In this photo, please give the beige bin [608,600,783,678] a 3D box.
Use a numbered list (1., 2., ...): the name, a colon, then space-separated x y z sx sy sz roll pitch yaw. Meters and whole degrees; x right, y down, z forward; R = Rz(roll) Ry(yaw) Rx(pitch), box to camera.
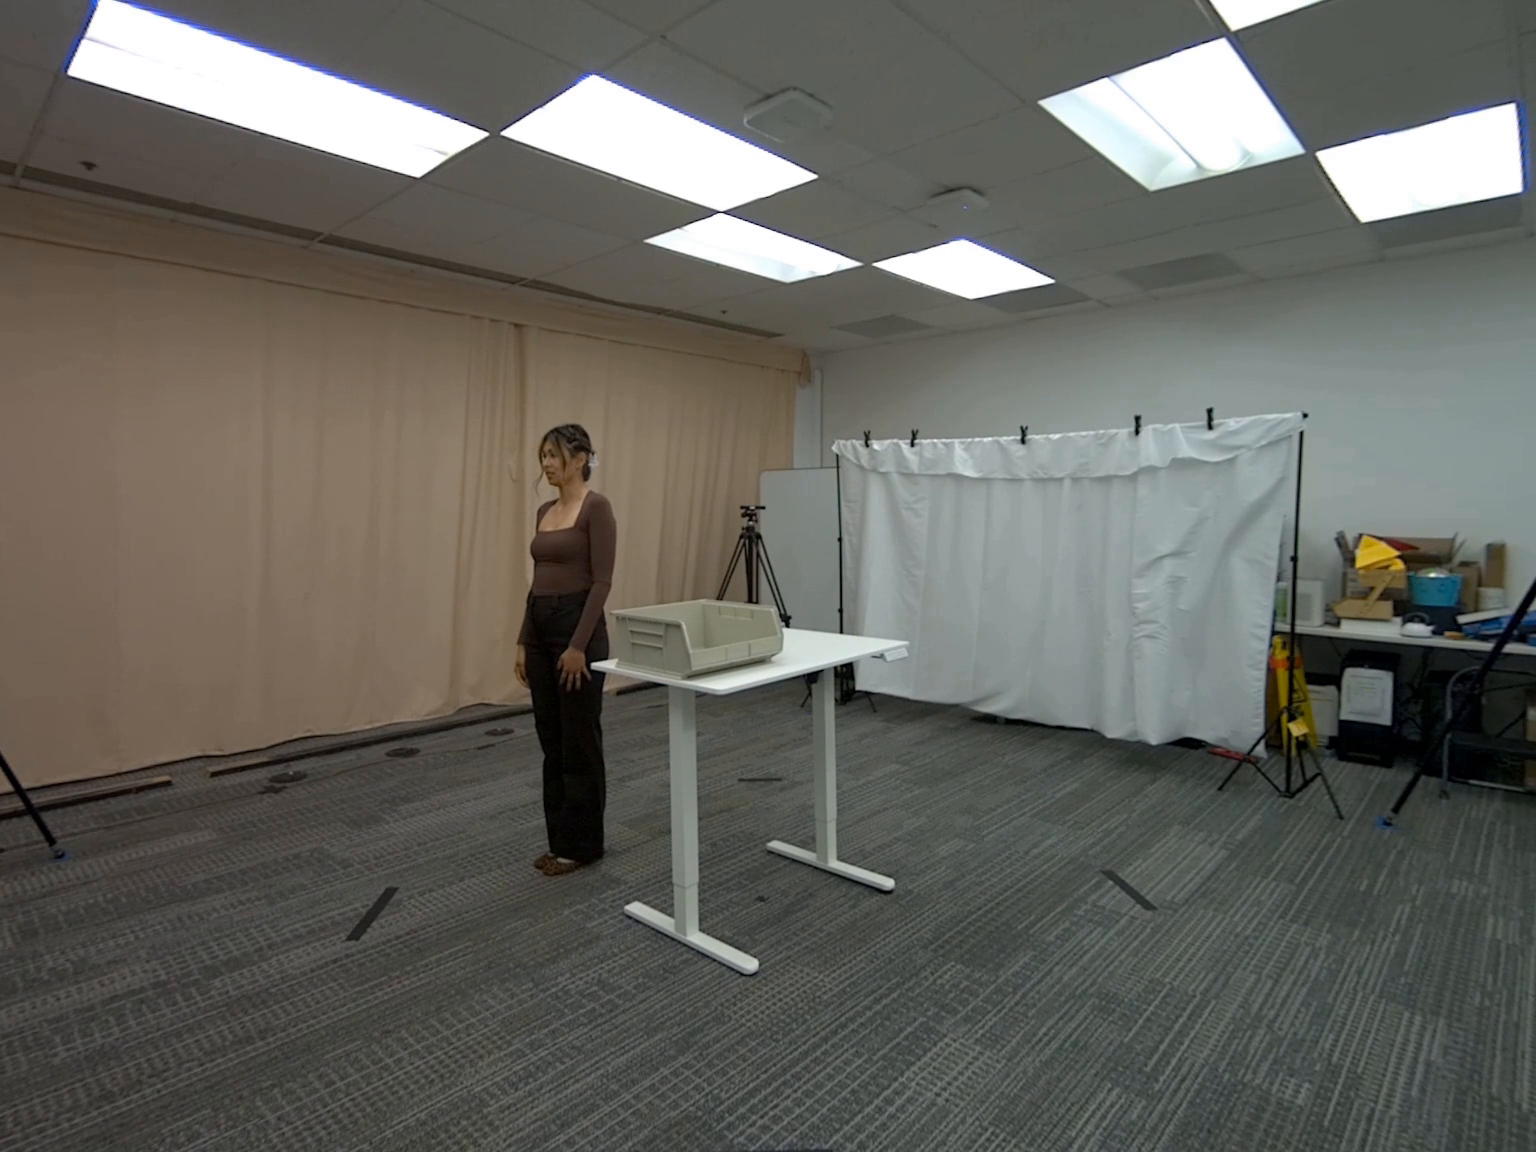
1. beige bin: -0.223 0.202 2.714 0.390 0.188 0.410 2 6 43
